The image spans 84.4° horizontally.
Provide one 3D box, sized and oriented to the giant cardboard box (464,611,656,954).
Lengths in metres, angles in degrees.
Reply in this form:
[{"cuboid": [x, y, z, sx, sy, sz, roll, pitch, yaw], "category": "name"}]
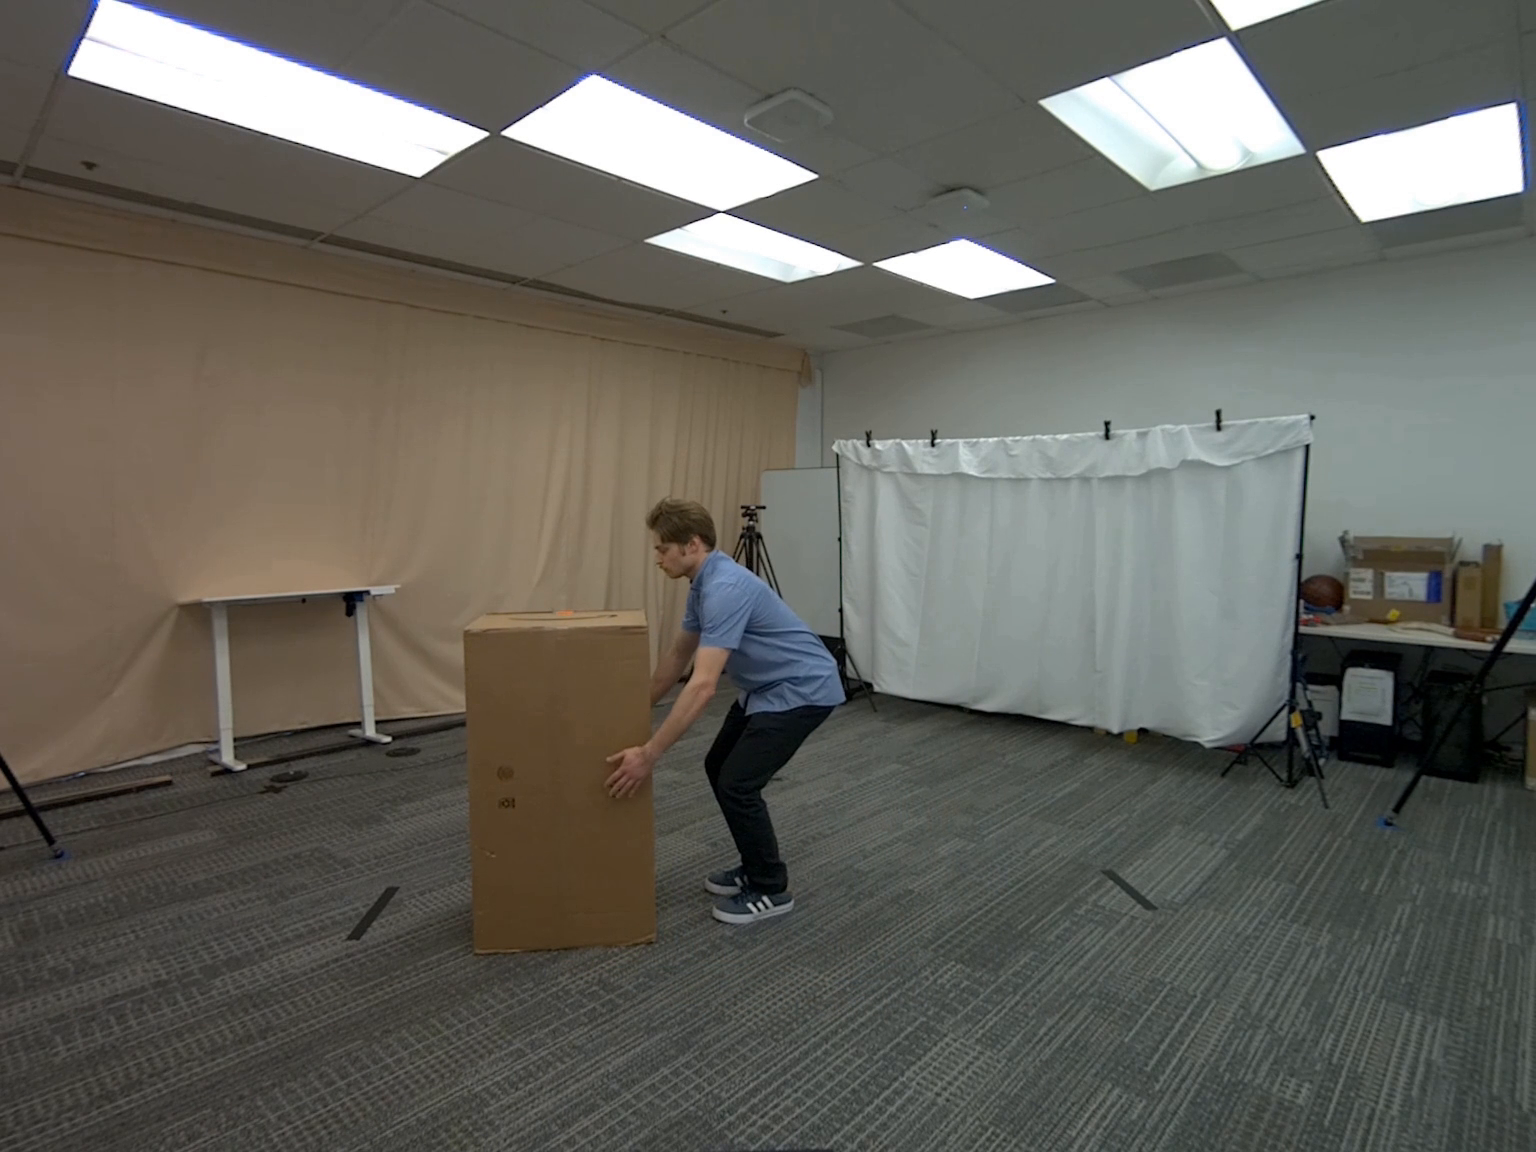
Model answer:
[{"cuboid": [-0.682, 0.655, 2.839, 0.573, 1.024, 0.430, -1, 3, -7], "category": "giant cardboard box"}]
